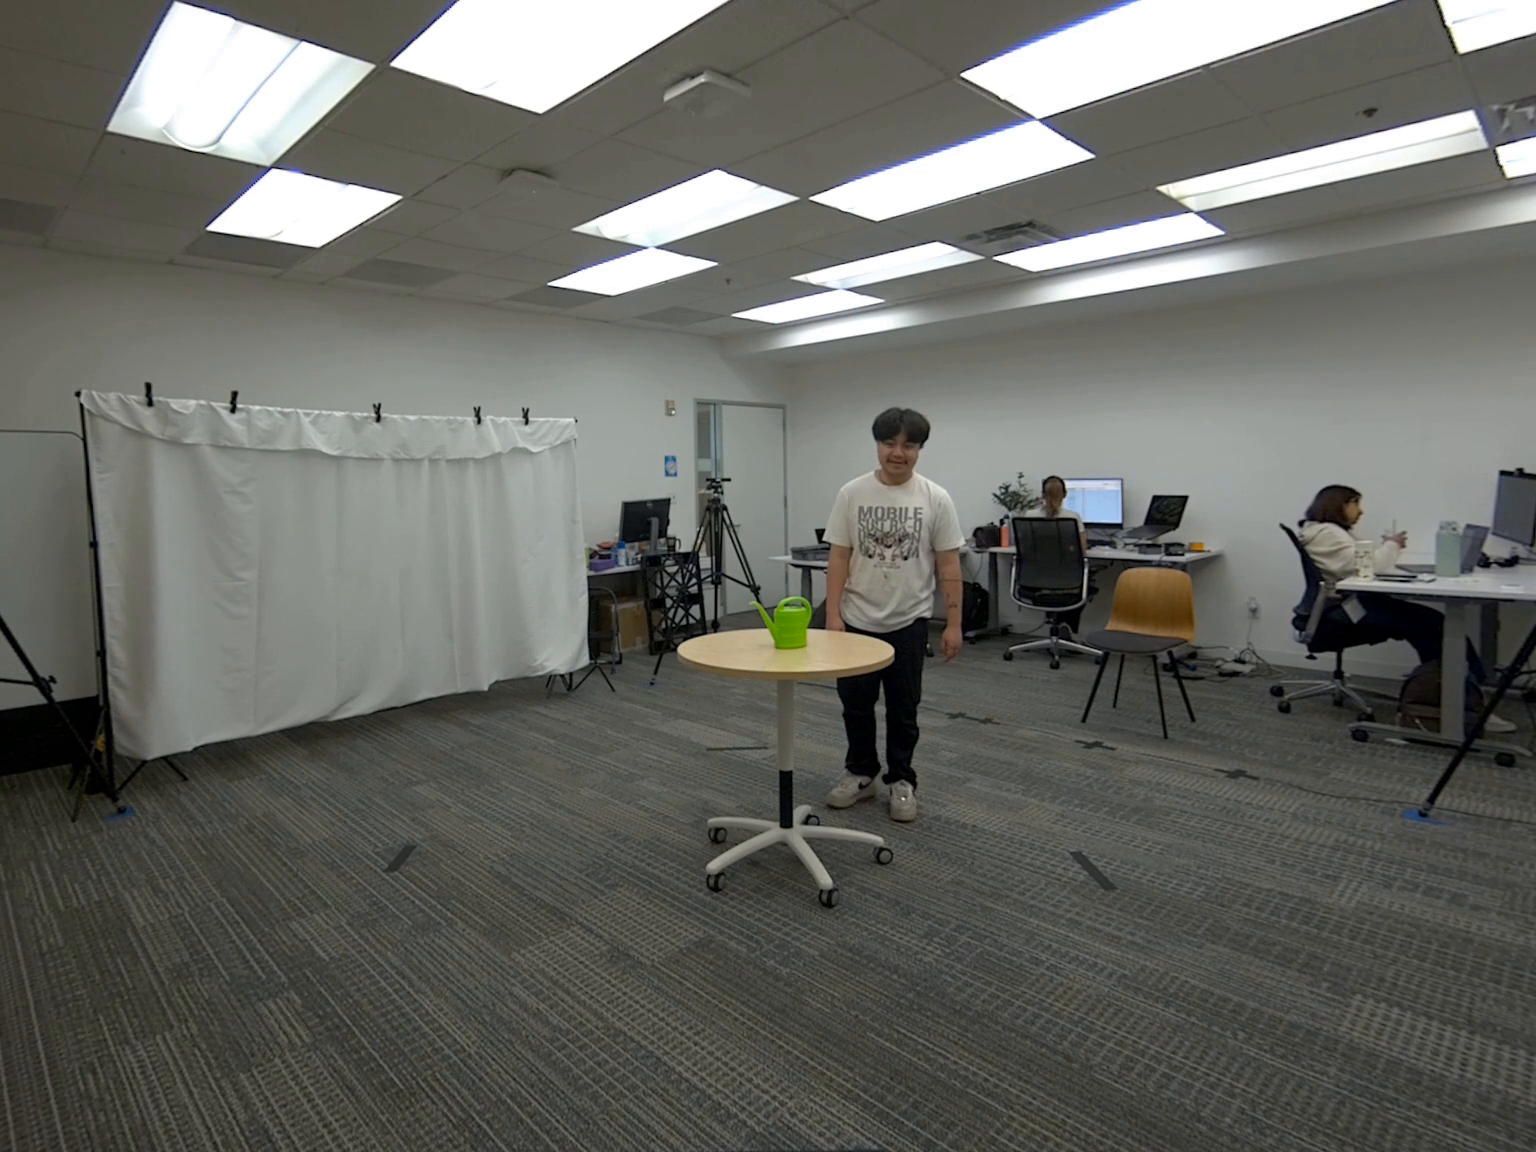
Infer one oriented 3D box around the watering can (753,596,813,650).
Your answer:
[{"bbox_3d":[0.056,0.167,3.040,0.272,0.176,0.100,-1,2,-28],"label":"watering can"}]
